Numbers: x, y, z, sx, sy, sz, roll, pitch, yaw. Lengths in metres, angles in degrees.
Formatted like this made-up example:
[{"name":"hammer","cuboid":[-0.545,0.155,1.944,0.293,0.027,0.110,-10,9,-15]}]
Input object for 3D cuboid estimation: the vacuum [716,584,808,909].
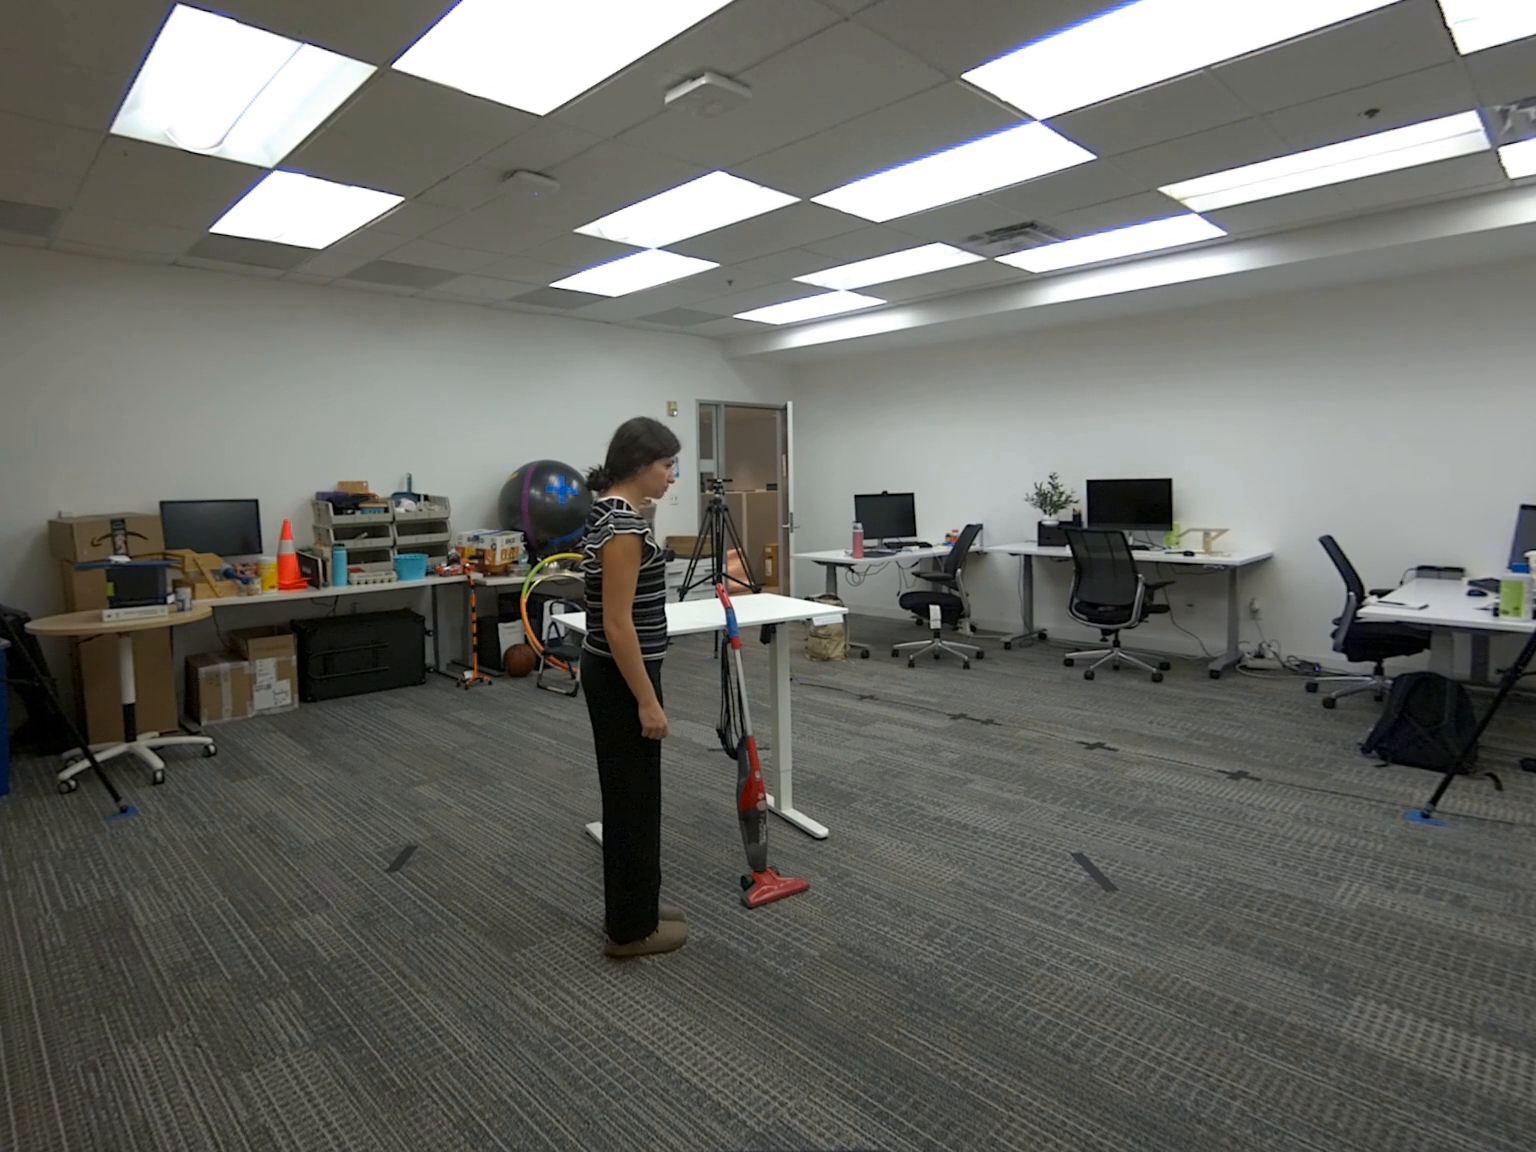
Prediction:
[{"name":"vacuum","cuboid":[-0.086,0.558,2.982,0.246,1.061,0.146,-3,-13,-34]}]
